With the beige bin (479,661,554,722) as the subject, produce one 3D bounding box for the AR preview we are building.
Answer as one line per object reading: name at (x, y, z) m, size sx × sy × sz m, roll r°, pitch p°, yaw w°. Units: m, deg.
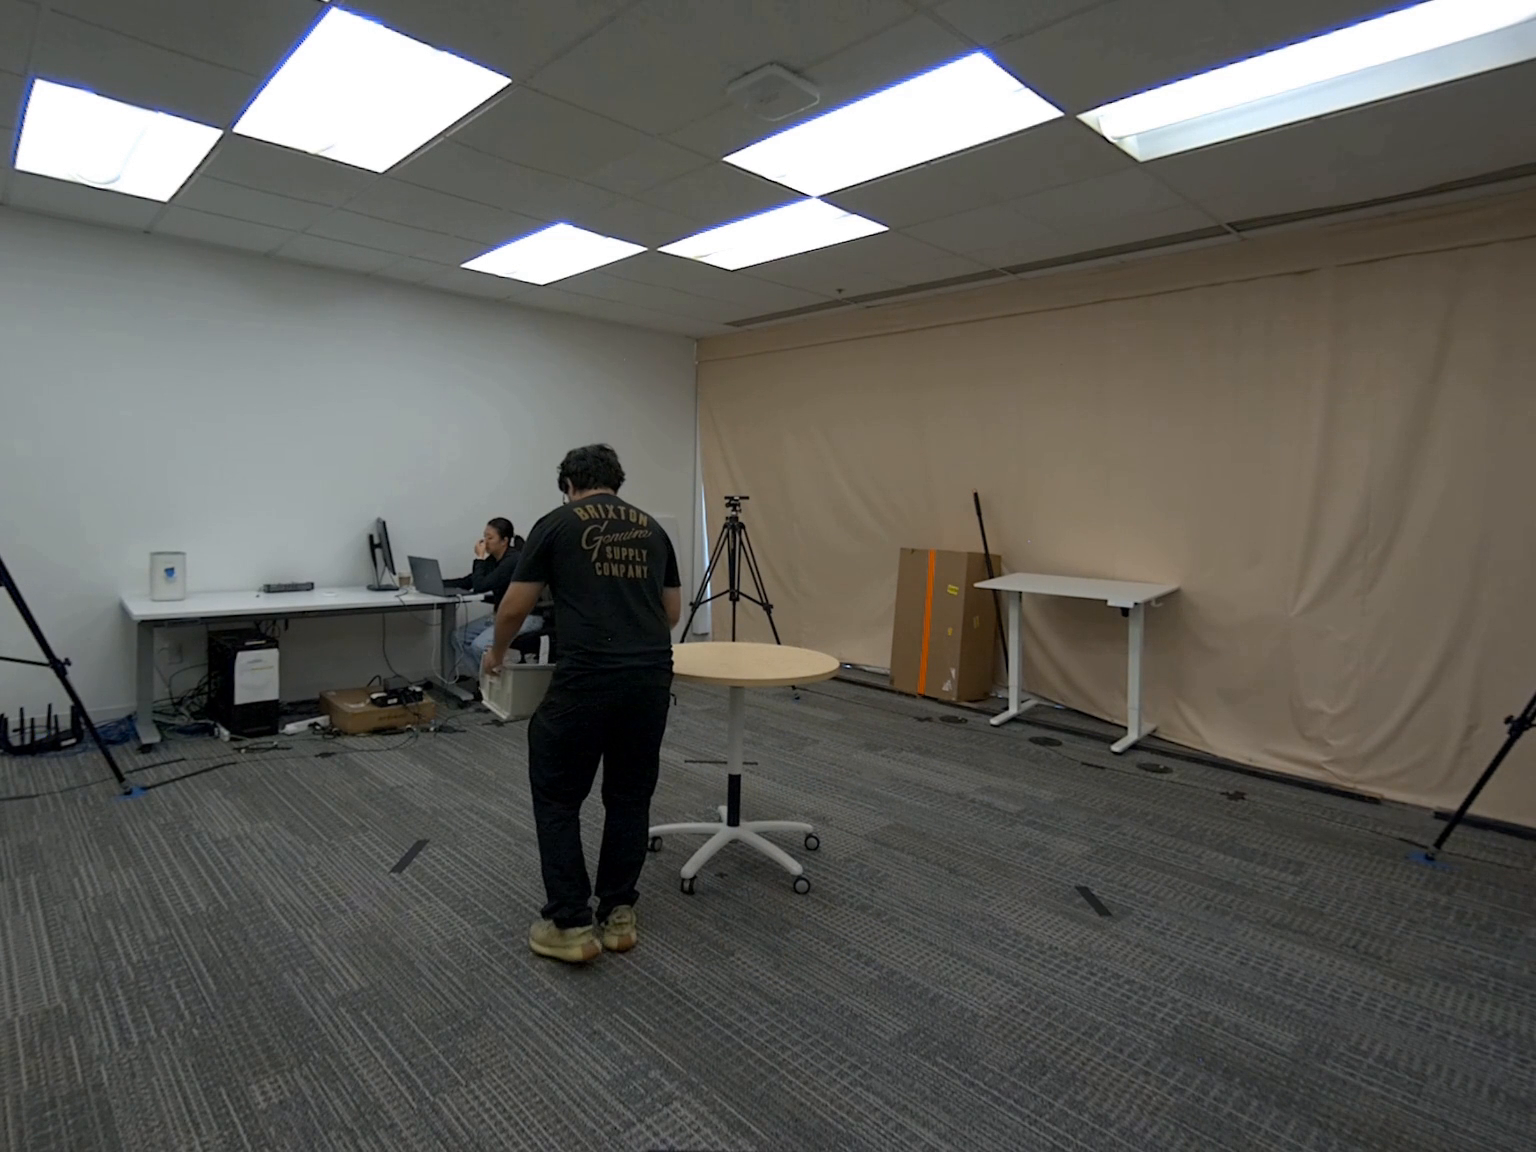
beige bin at (-0.756, 0.376, 2.947) m, size 0.413 × 0.189 × 0.386 m, roll 4°, pitch 2°, yaw -32°
